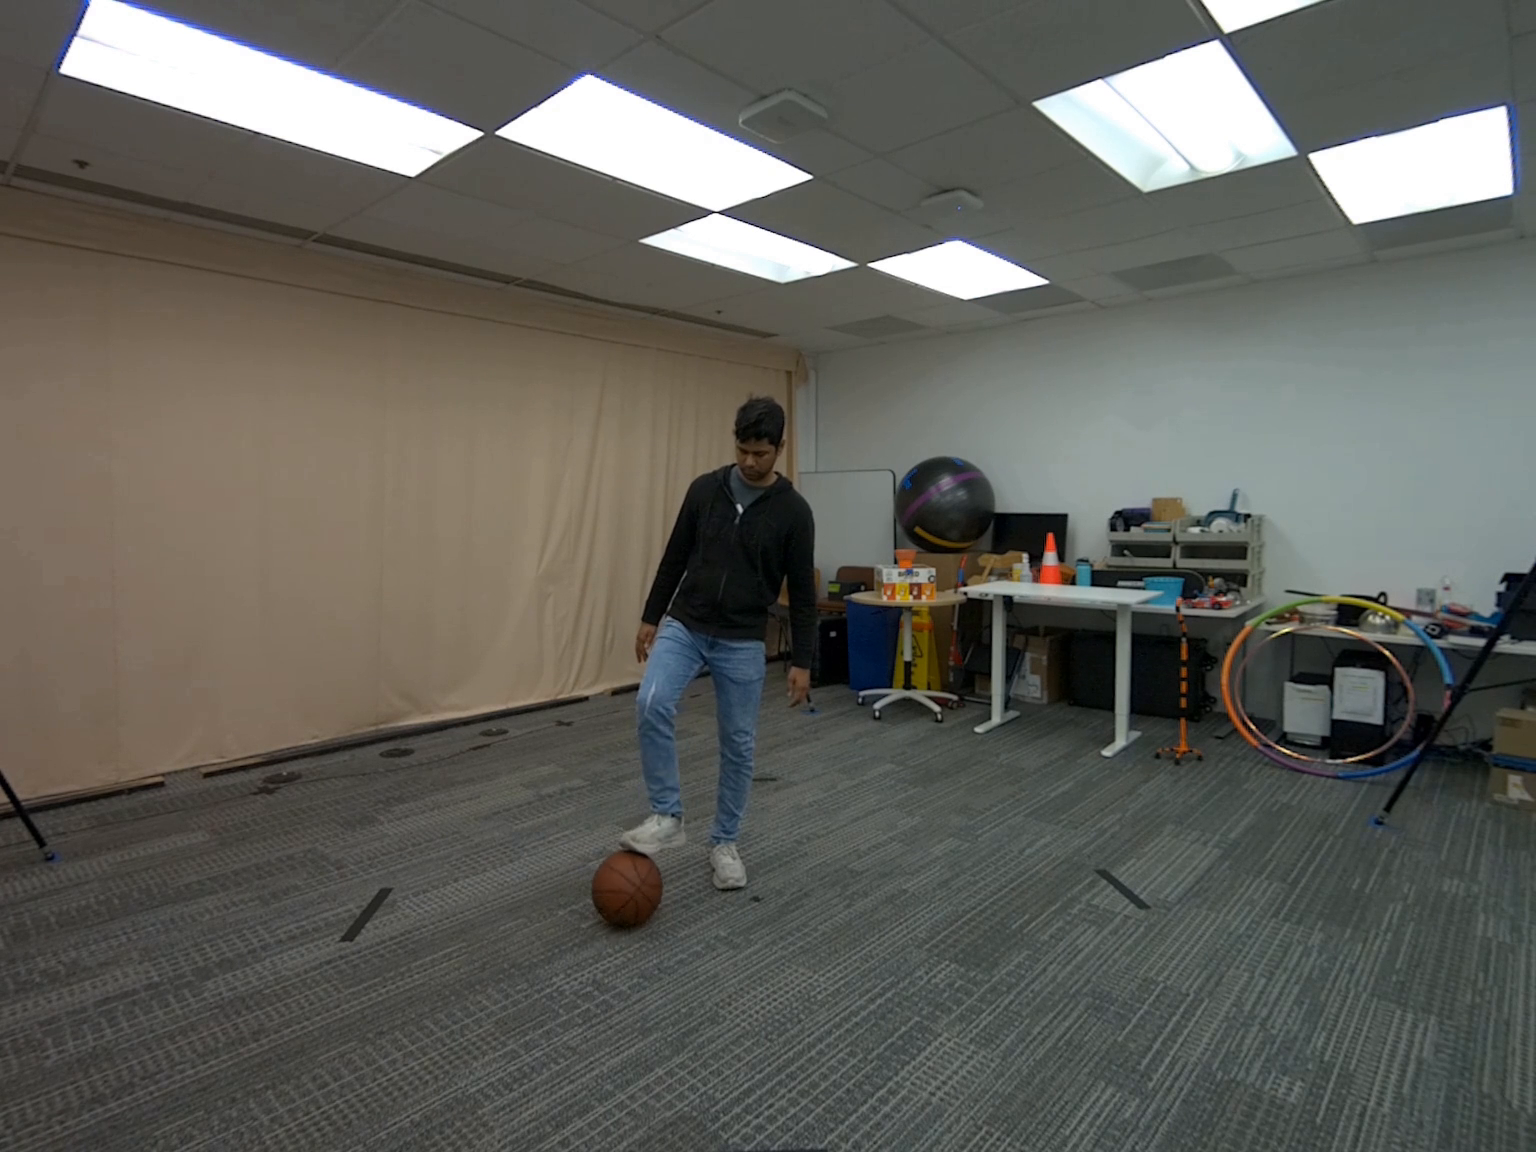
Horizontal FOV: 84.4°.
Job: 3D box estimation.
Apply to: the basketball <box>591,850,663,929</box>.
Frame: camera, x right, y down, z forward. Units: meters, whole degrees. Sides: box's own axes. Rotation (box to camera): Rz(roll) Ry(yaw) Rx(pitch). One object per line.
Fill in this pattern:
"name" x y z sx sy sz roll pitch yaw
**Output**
"basketball" -0.477 1.042 2.808 0.236 0.235 0.237 0 4 -2
